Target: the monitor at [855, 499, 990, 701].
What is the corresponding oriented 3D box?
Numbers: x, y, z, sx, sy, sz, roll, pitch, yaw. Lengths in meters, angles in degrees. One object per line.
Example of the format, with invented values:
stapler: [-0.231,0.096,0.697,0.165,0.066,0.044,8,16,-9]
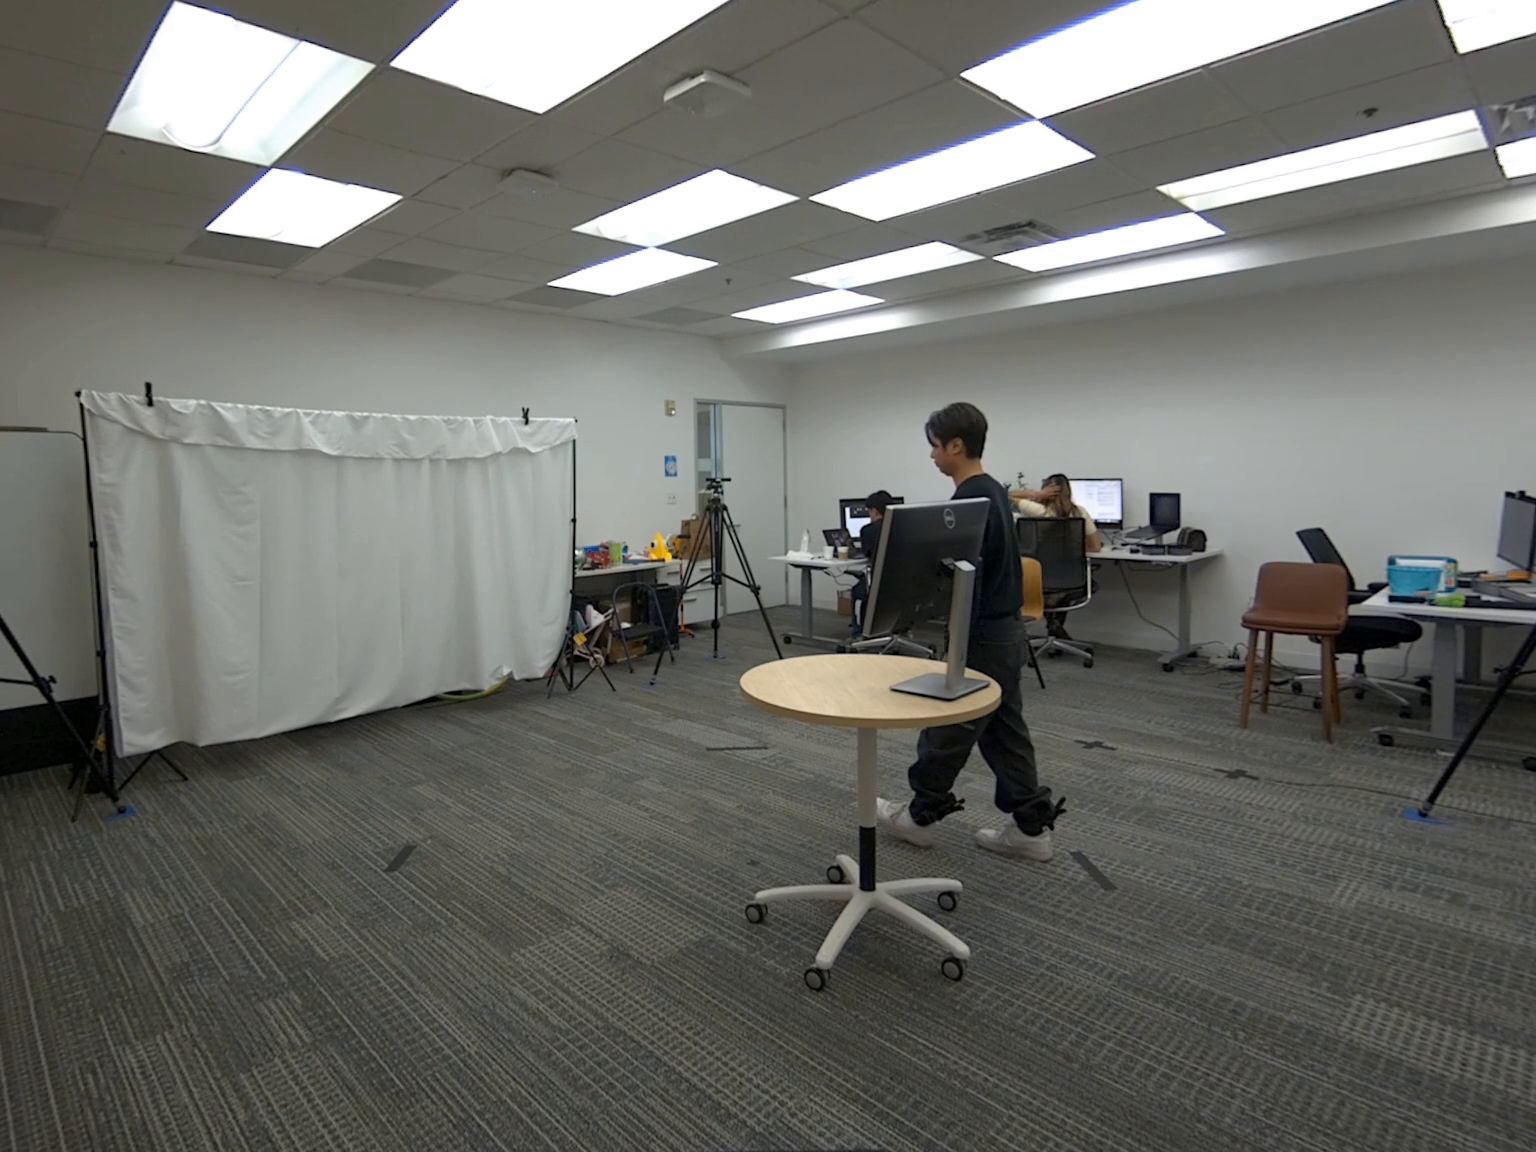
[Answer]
monitor: [0.503,0.060,2.461,0.192,0.521,0.525,1,6,39]
